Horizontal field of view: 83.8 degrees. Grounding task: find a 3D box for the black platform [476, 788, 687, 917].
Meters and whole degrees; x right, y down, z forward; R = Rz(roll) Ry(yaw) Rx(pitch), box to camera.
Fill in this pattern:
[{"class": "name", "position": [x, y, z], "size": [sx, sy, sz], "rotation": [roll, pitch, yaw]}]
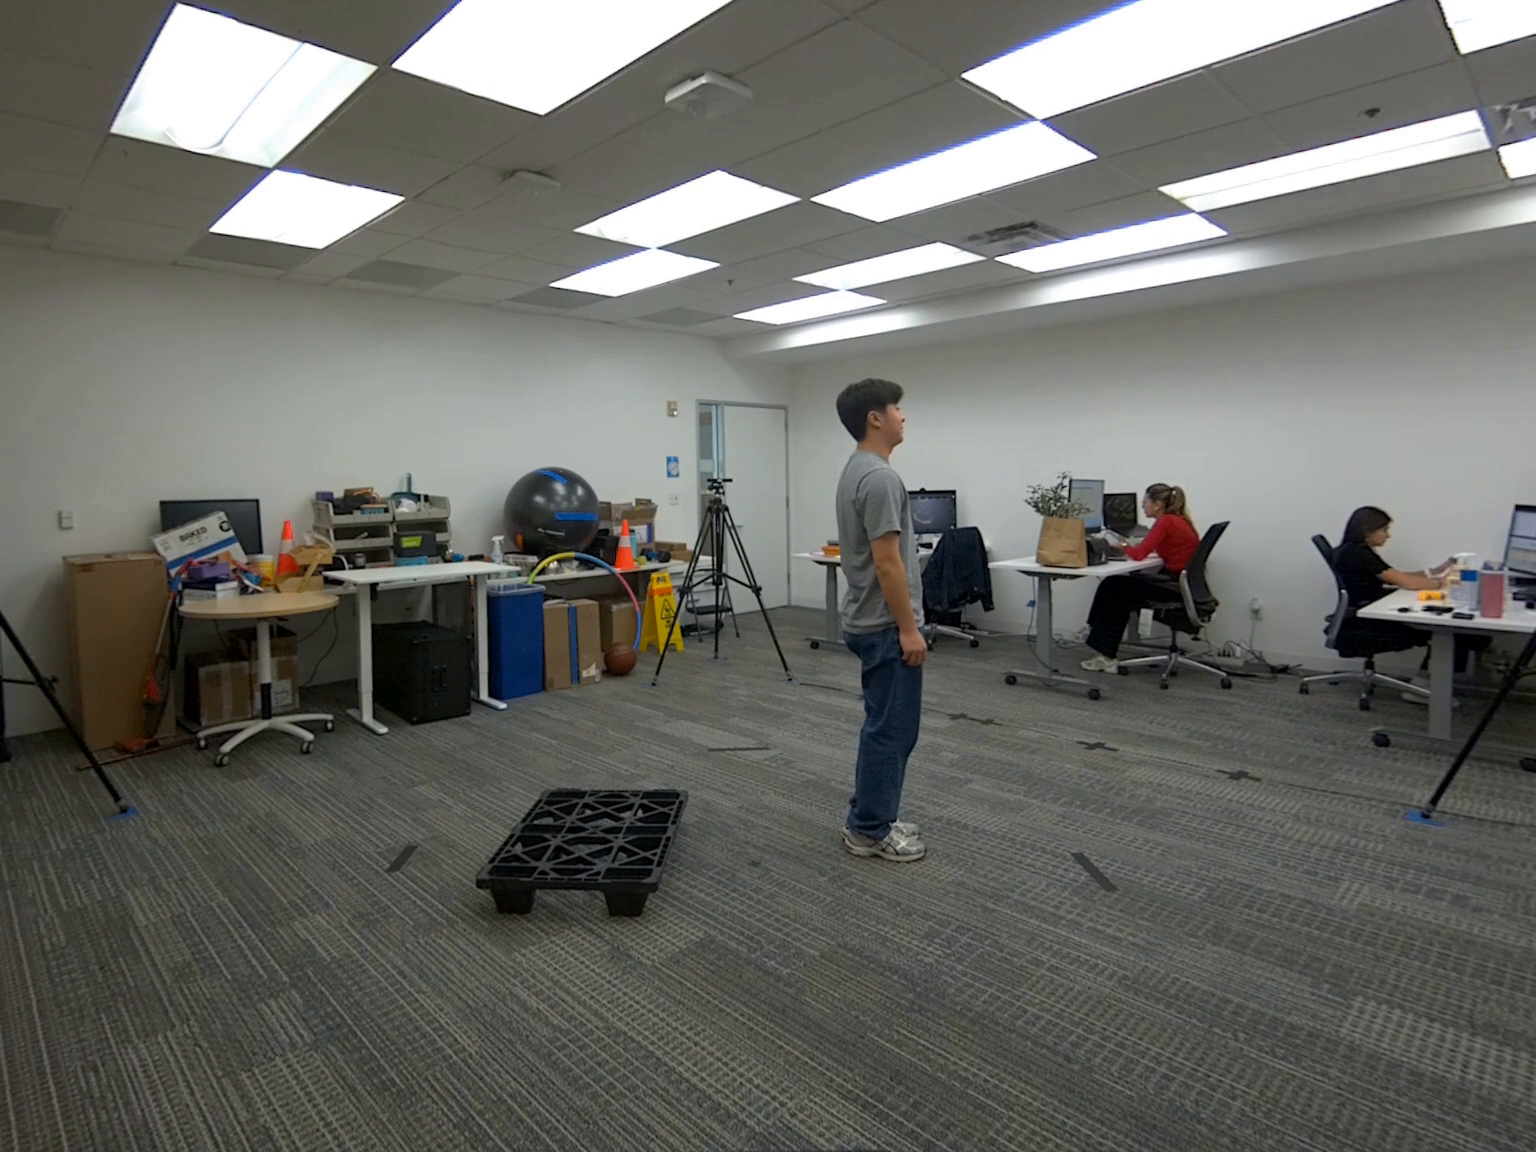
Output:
[{"class": "black platform", "position": [-0.629, 0.988, 3.114], "size": [0.607, 0.142, 0.806], "rotation": [0, 7, 3]}]
